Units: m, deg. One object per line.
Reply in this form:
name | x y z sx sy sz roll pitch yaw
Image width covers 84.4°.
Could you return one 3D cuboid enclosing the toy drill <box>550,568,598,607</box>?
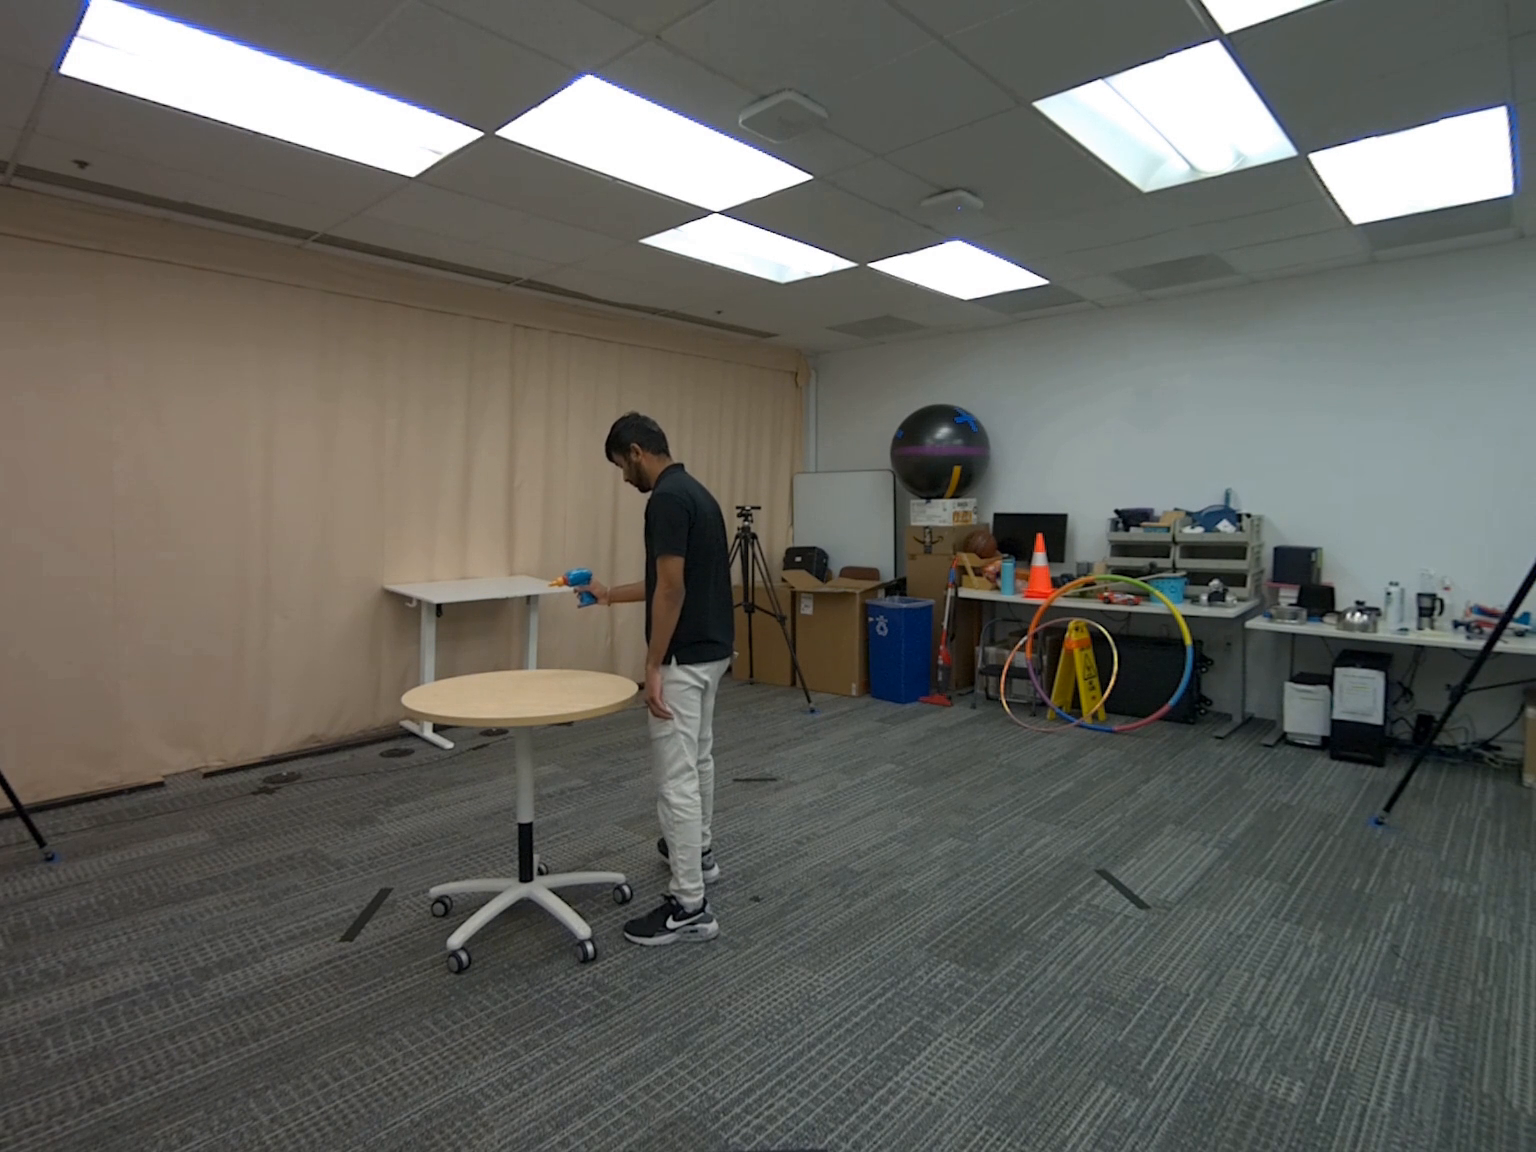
toy drill | -0.721 0.052 3.136 0.166 0.146 0.062 -17 2 -24
